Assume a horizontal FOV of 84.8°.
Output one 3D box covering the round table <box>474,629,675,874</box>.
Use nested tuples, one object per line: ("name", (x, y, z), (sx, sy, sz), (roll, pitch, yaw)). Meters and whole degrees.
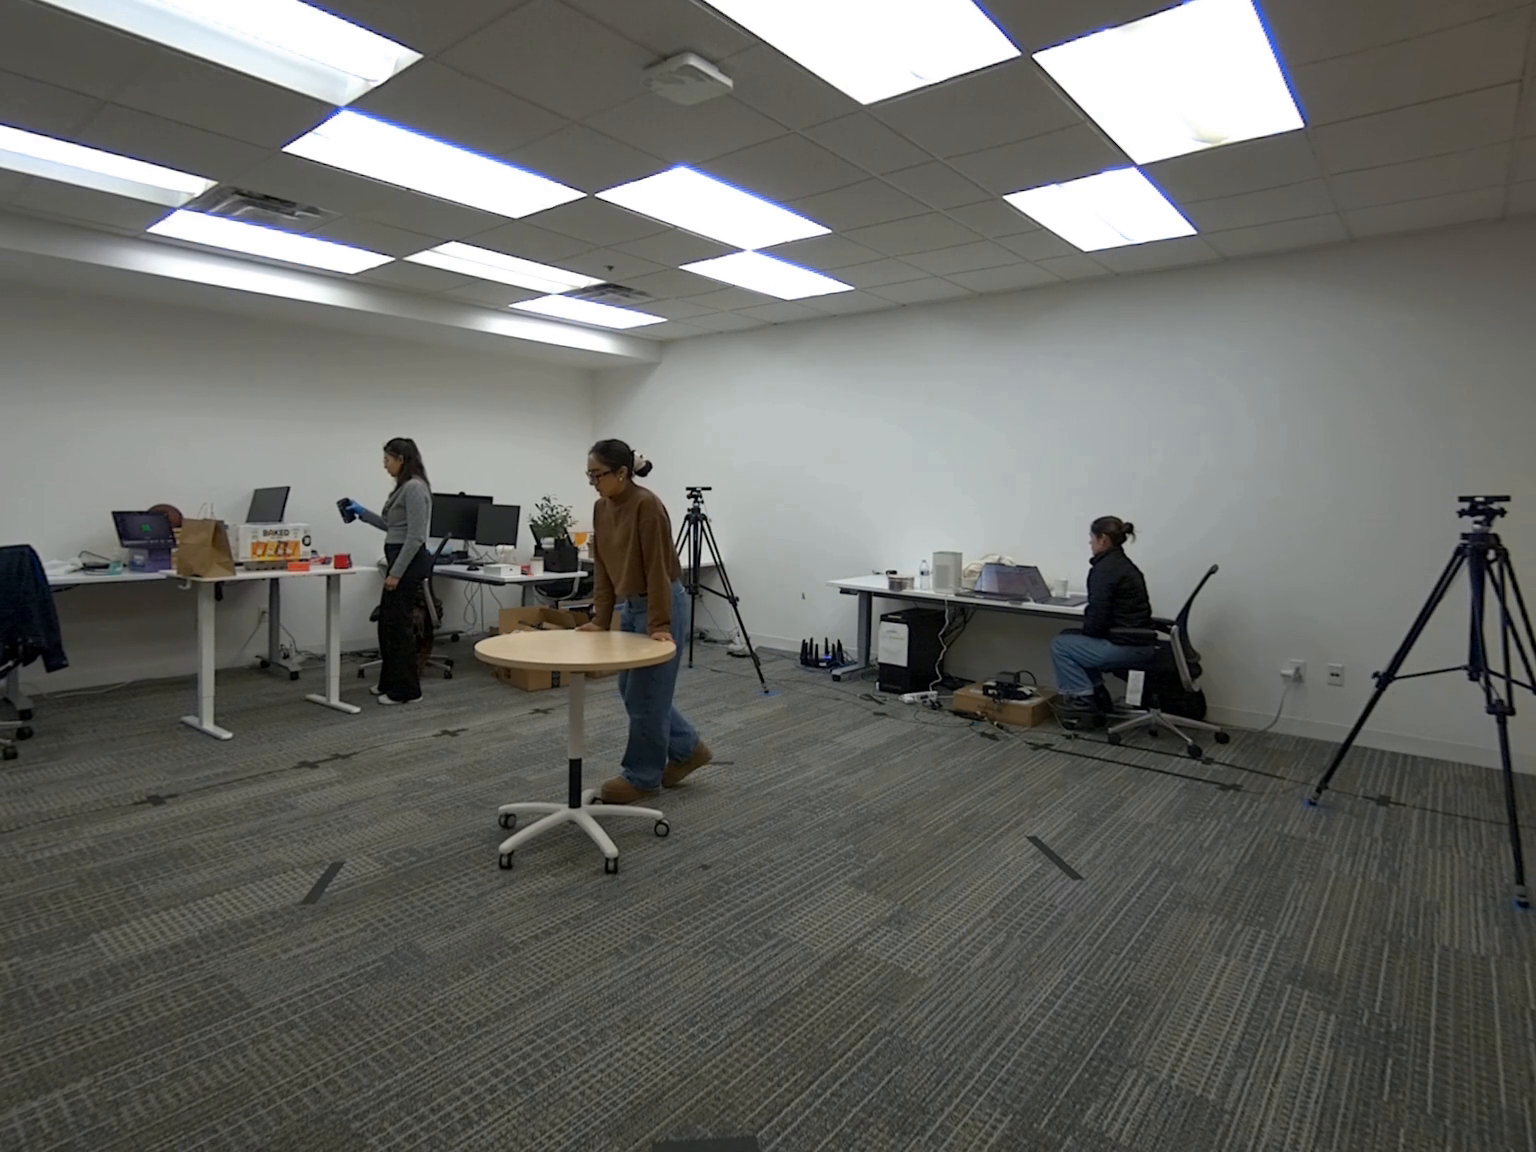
("round table", (-0.767, 0.653, 3.309), (0.763, 0.792, 0.767), (1, 4, -2))
